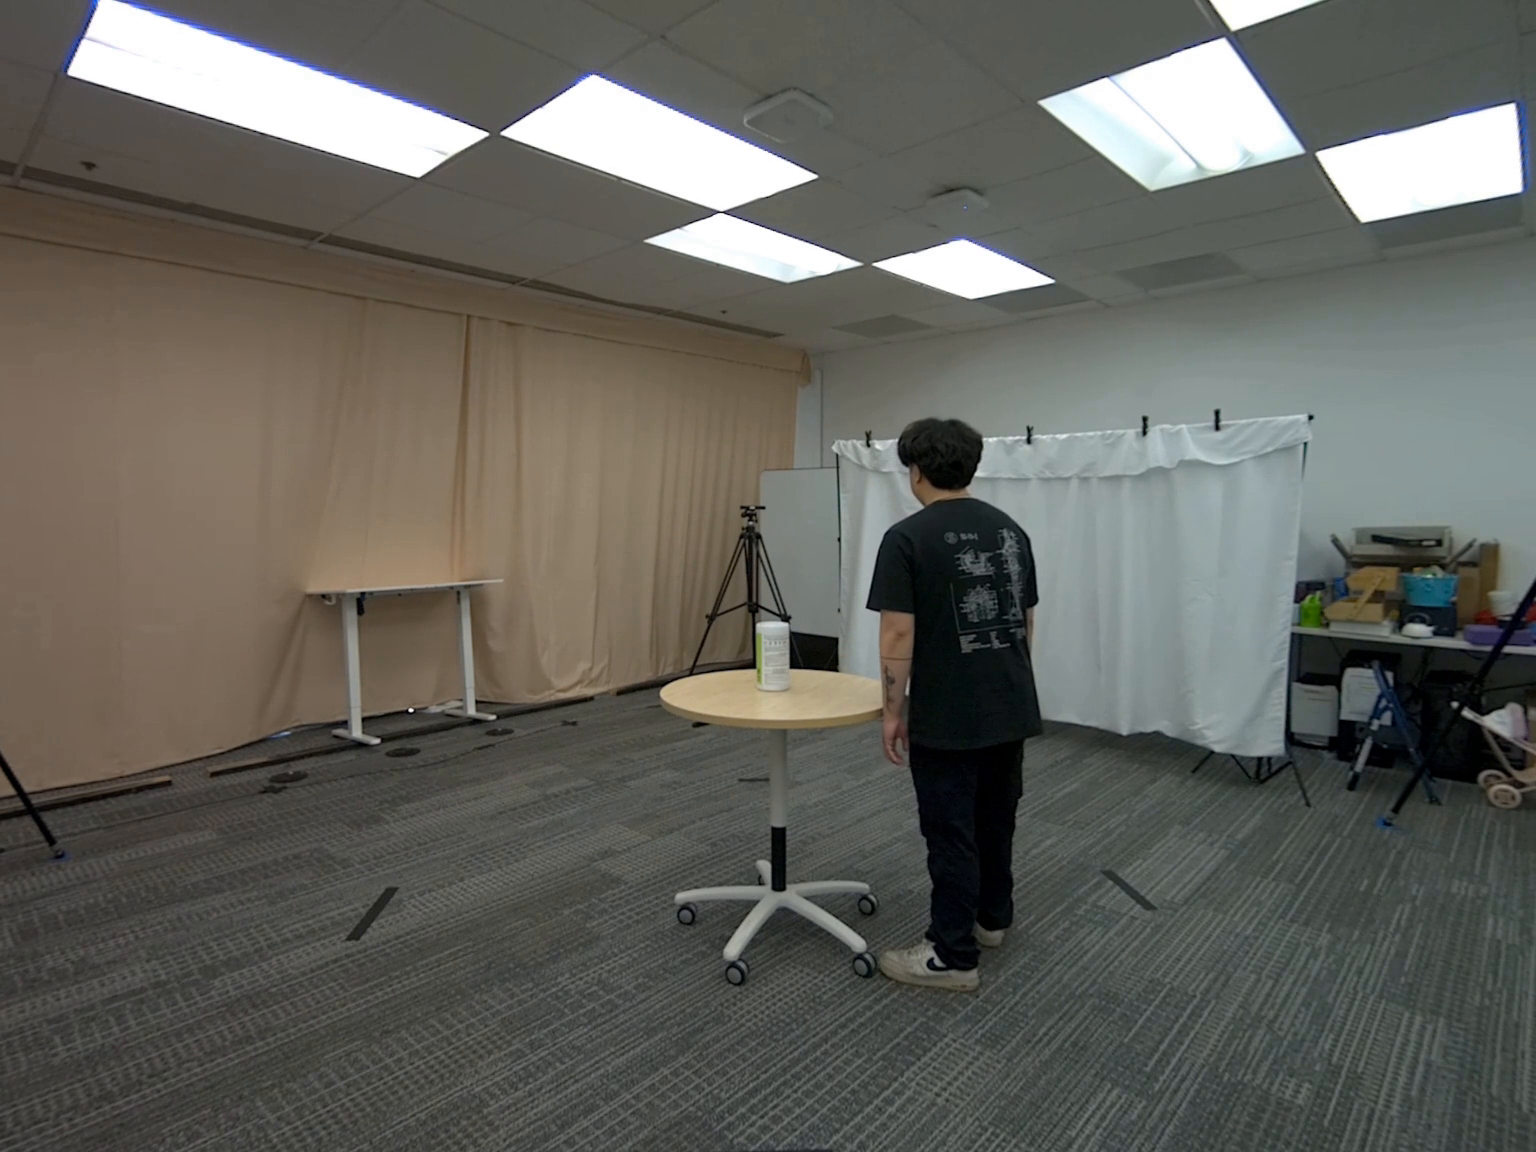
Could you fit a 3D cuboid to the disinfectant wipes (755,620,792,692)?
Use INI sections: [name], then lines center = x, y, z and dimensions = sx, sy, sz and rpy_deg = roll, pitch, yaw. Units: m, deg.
[disinfectant wipes]
center = 0.020, 0.265, 2.755
dimensions = 0.118, 0.217, 0.118
rpy_deg = 0, 2, -2
